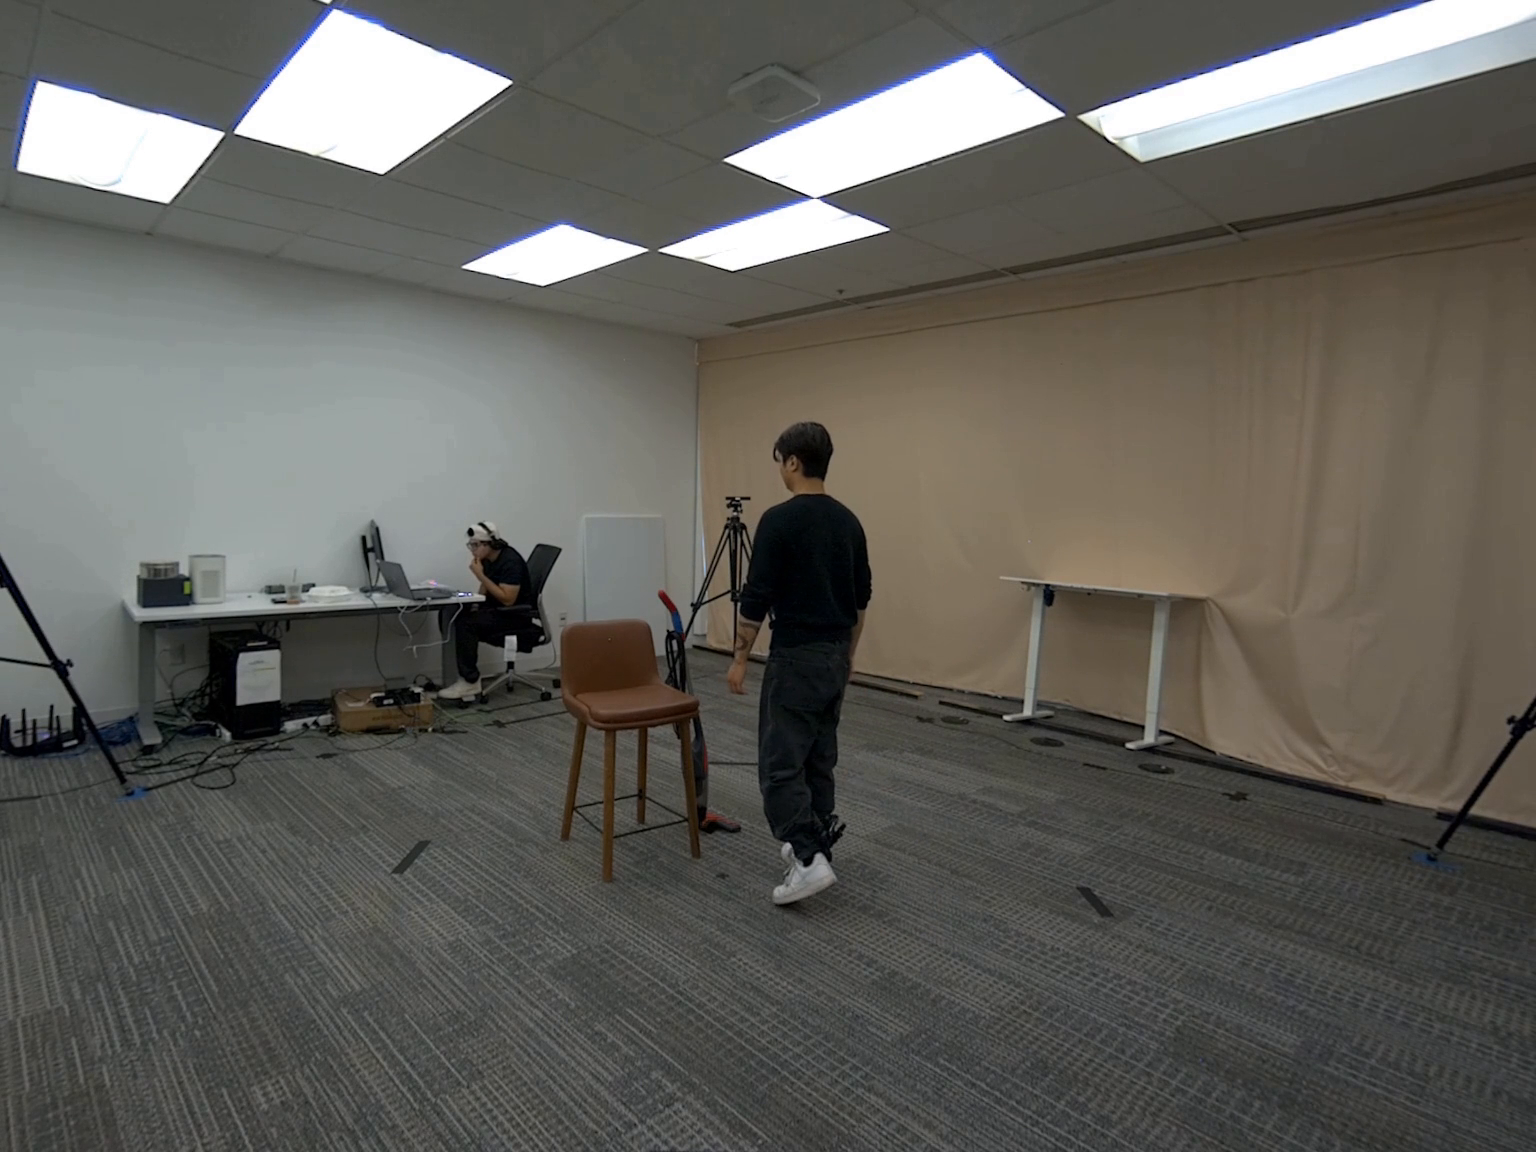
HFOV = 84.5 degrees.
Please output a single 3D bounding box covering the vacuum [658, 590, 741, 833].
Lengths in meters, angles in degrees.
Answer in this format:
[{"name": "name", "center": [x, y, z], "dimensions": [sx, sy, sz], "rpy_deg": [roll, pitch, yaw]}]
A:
[{"name": "vacuum", "center": [-0.358, 0.566, 3.483], "dimensions": [0.142, 1.038, 0.259], "rpy_deg": [-21, 16, -40]}]
